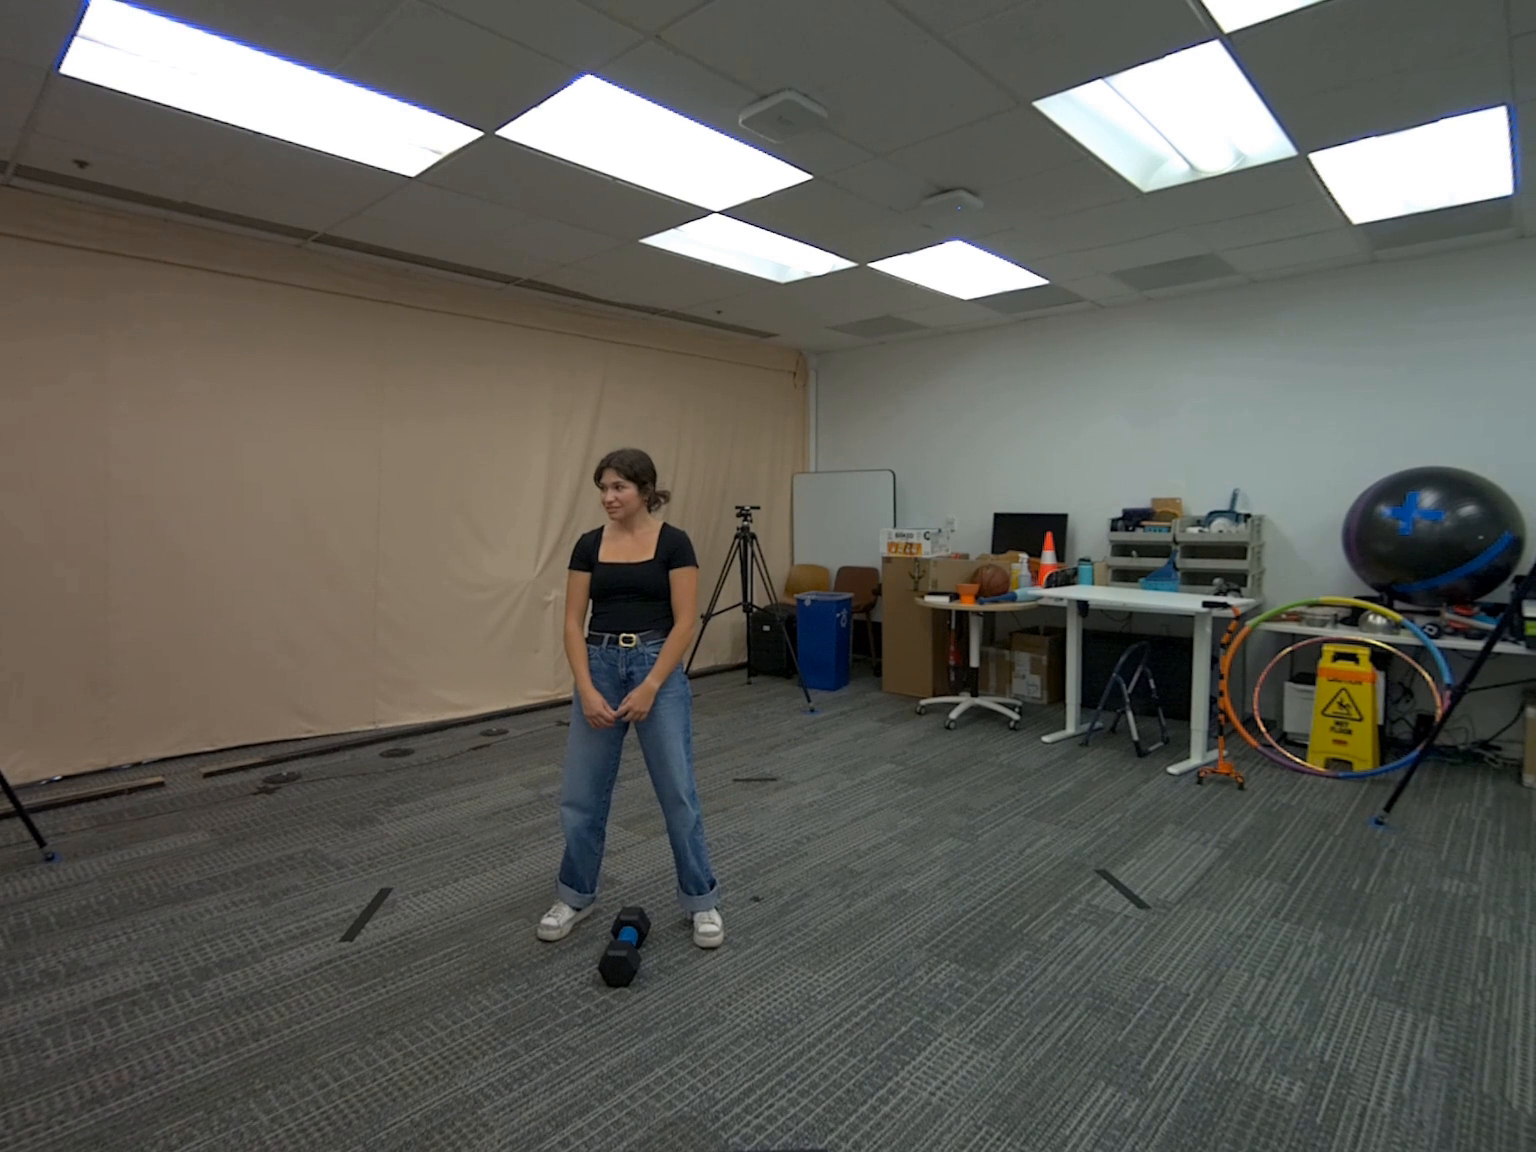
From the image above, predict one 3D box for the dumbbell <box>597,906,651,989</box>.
[{"bbox_3d":[-0.431,1.129,2.569,0.109,0.123,0.293,31,4,-2],"label":"dumbbell"}]
